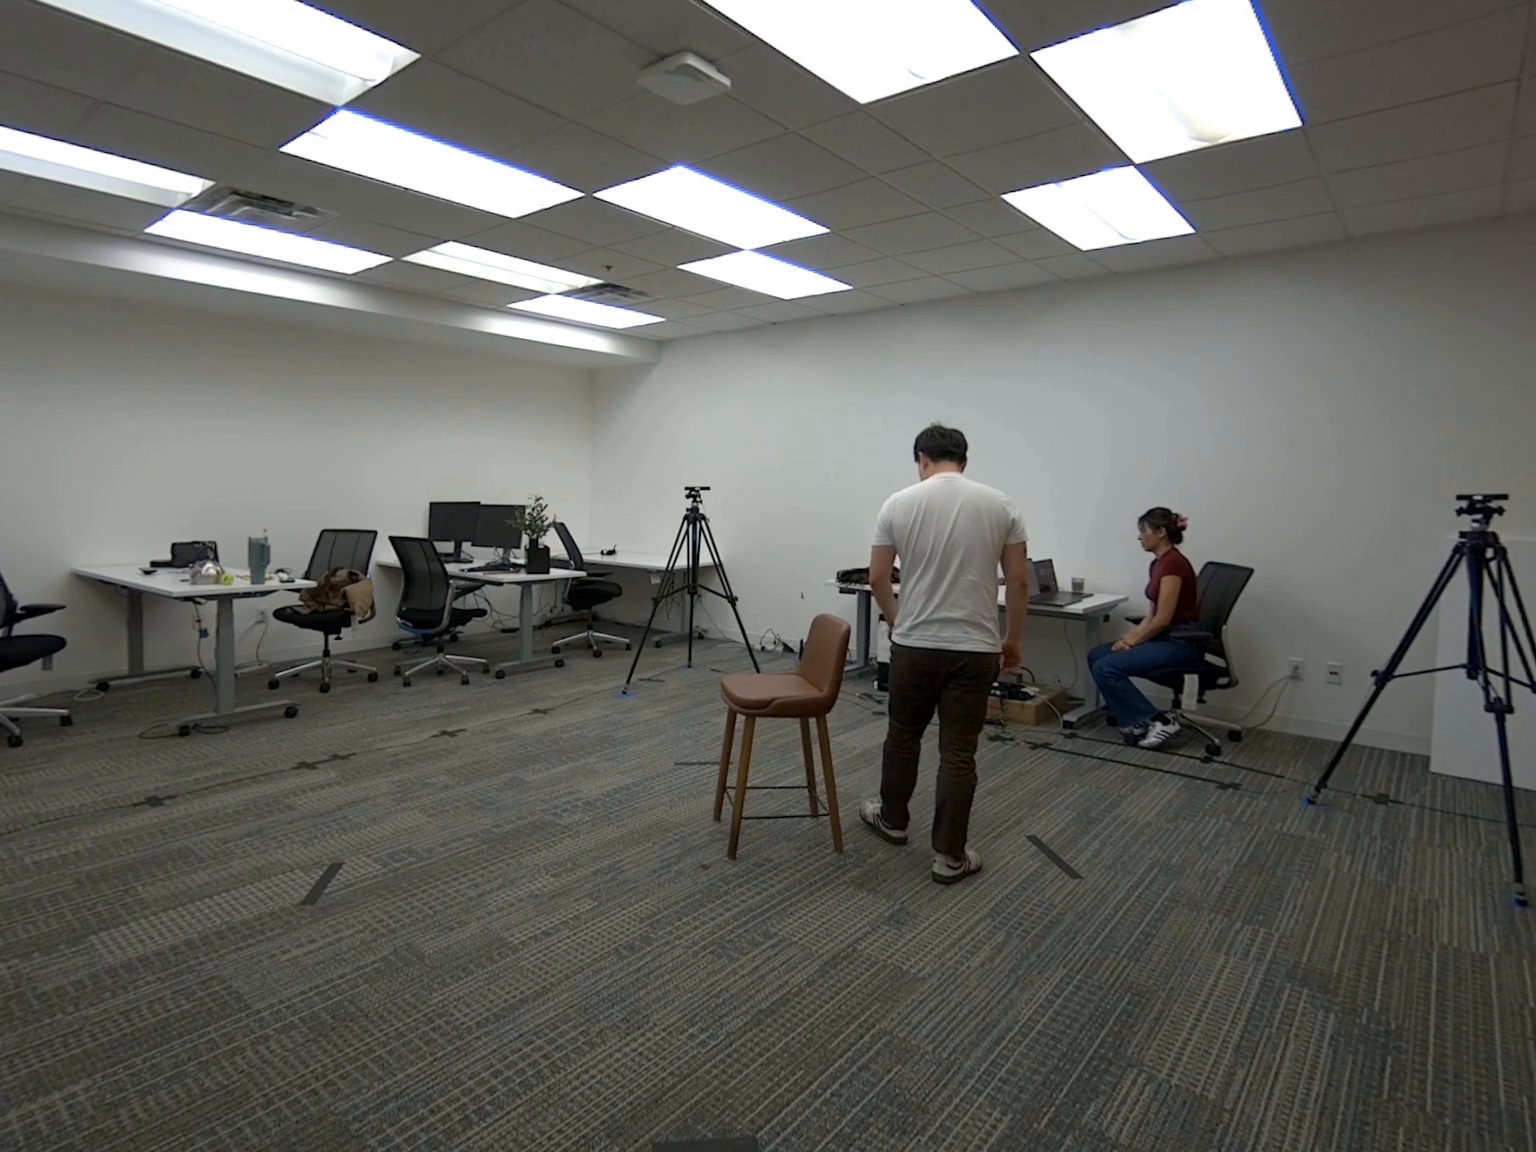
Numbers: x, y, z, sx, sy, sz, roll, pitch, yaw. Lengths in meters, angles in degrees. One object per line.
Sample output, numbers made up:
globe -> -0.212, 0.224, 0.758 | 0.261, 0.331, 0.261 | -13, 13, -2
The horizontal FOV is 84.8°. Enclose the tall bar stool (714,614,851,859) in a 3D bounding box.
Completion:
tall bar stool -> 0.044, 0.605, 3.392 | 0.461, 0.887, 0.464 | 2, 3, -13
